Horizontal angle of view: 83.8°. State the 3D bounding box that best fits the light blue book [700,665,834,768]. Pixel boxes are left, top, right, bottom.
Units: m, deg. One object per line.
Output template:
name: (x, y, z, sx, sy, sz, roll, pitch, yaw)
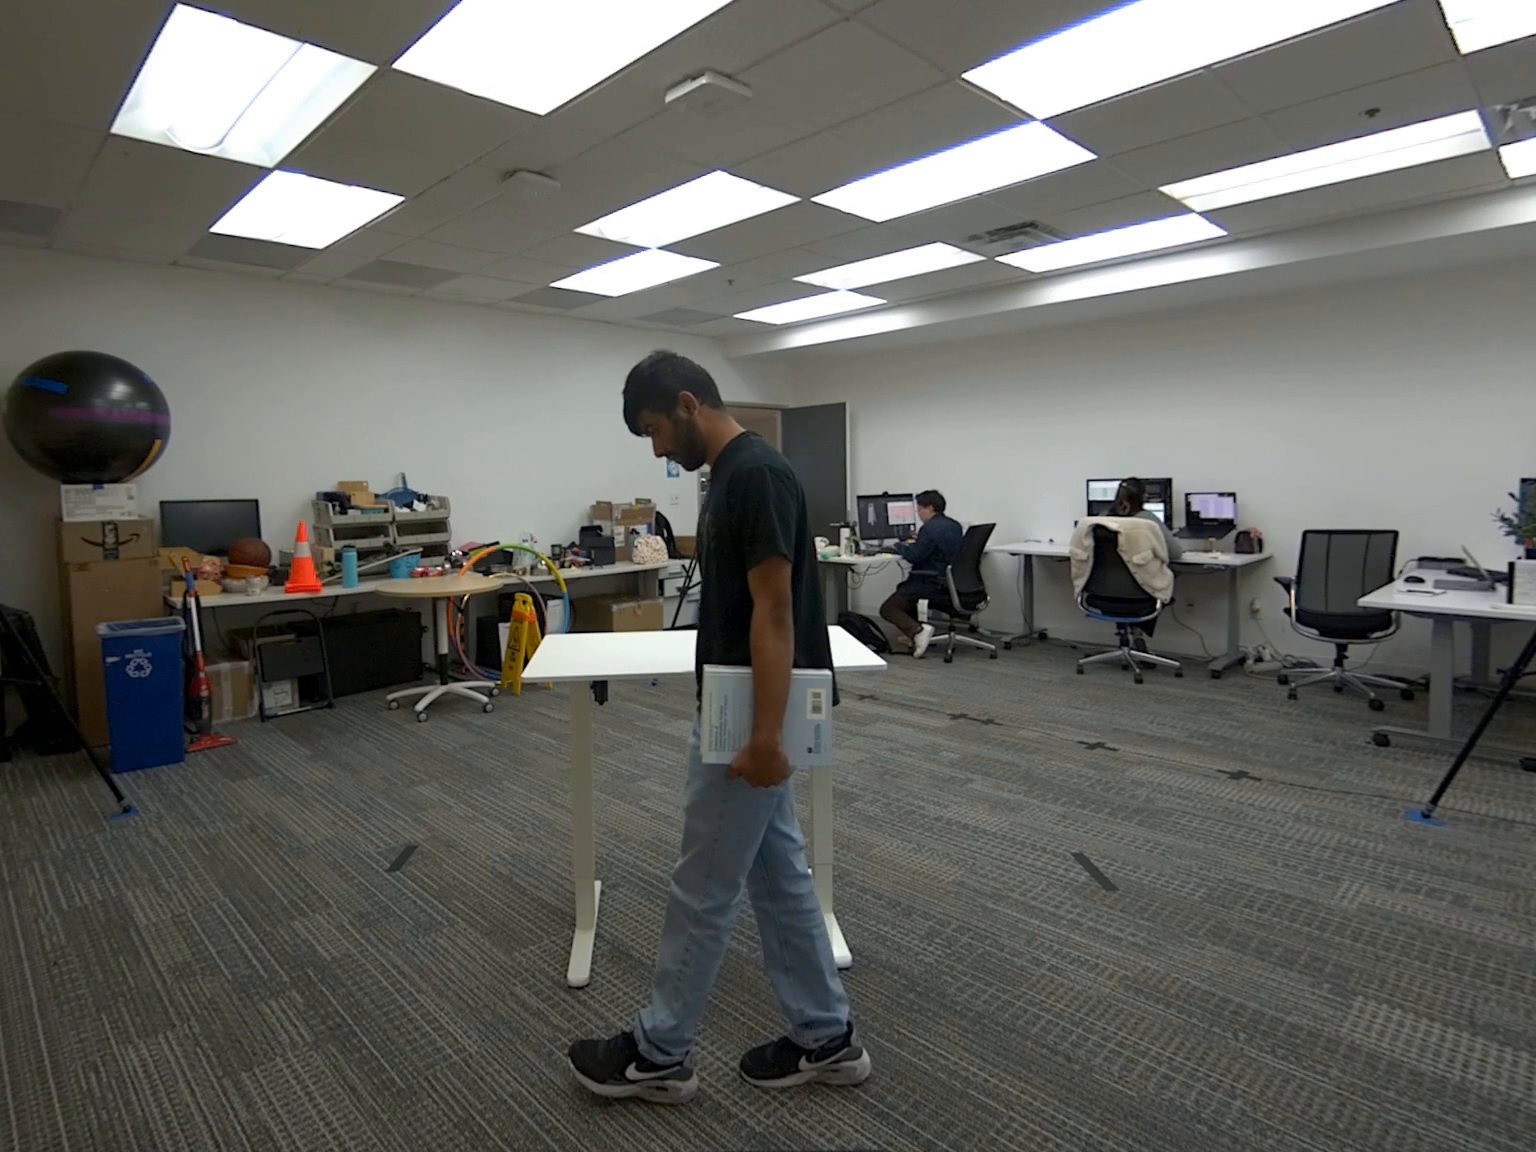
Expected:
light blue book: (-0.004, 0.286, 1.752, 0.261, 0.192, 0.059, 4, -7, -1)
